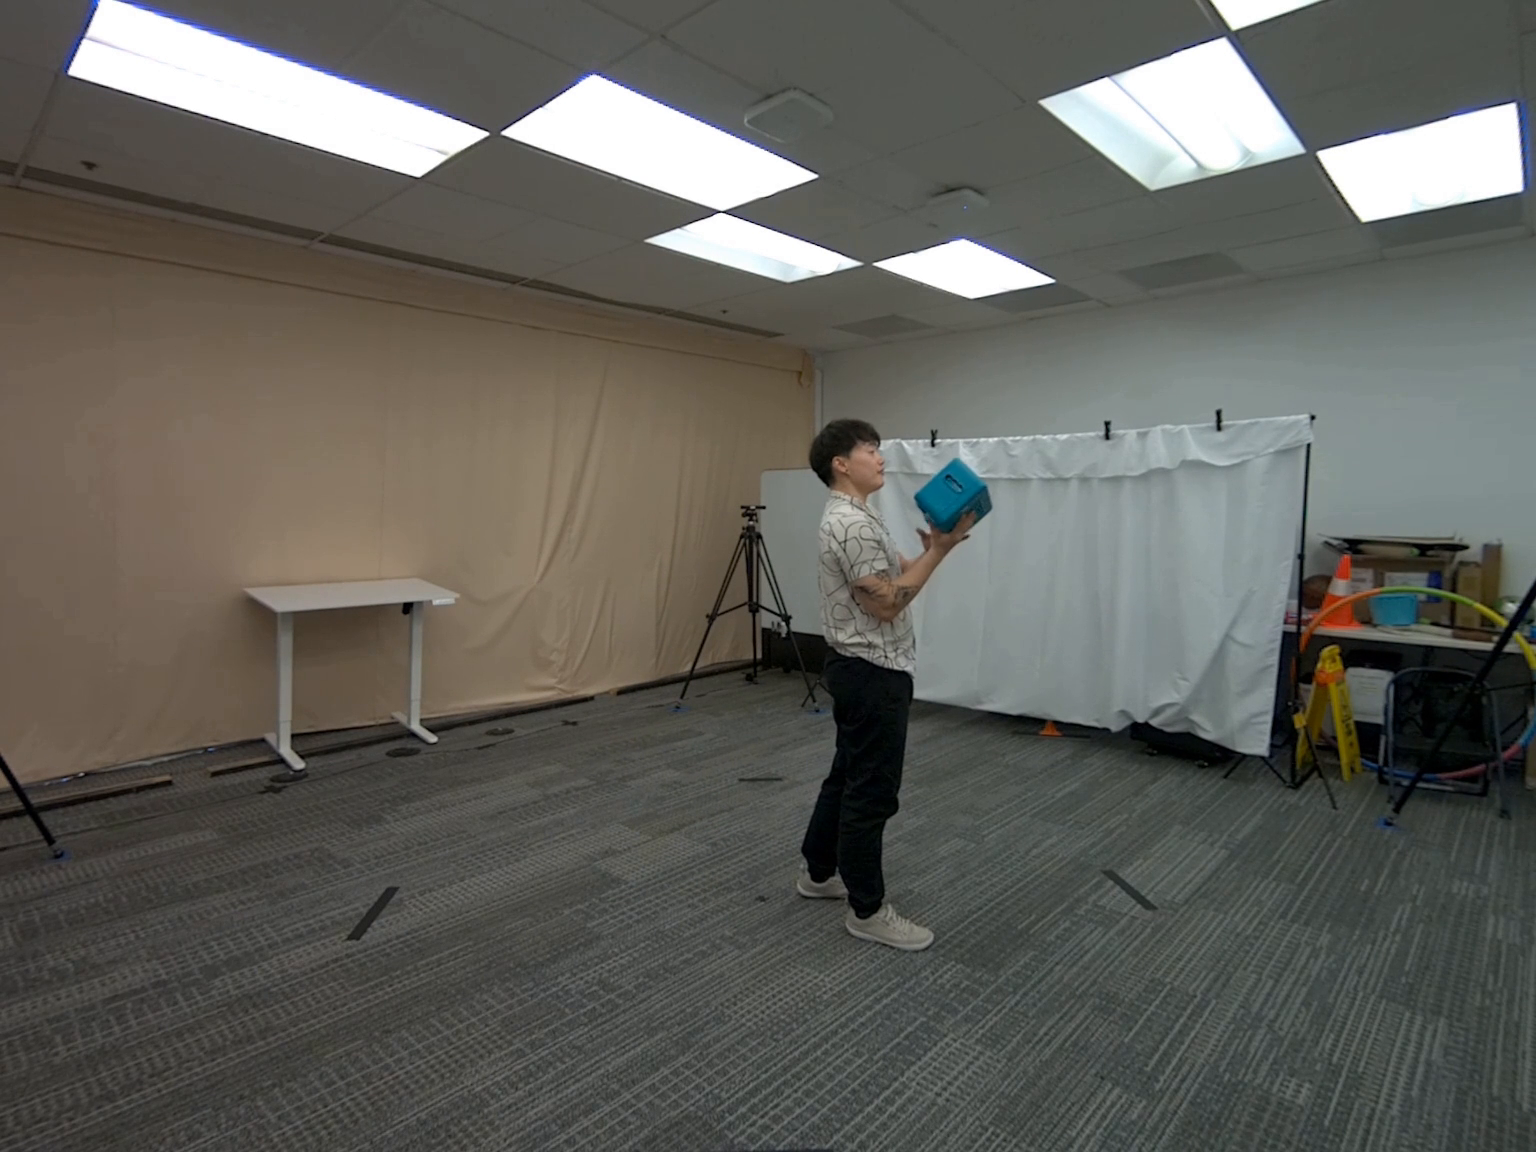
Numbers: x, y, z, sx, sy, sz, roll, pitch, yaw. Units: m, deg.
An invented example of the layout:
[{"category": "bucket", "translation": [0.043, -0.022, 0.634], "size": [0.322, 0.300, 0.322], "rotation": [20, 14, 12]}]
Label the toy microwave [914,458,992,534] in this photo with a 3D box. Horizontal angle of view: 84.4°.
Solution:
[{"category": "toy microwave", "translation": [0.566, -0.226, 2.561], "size": [0.156, 0.184, 0.278], "rotation": [49, 8, 22]}]
